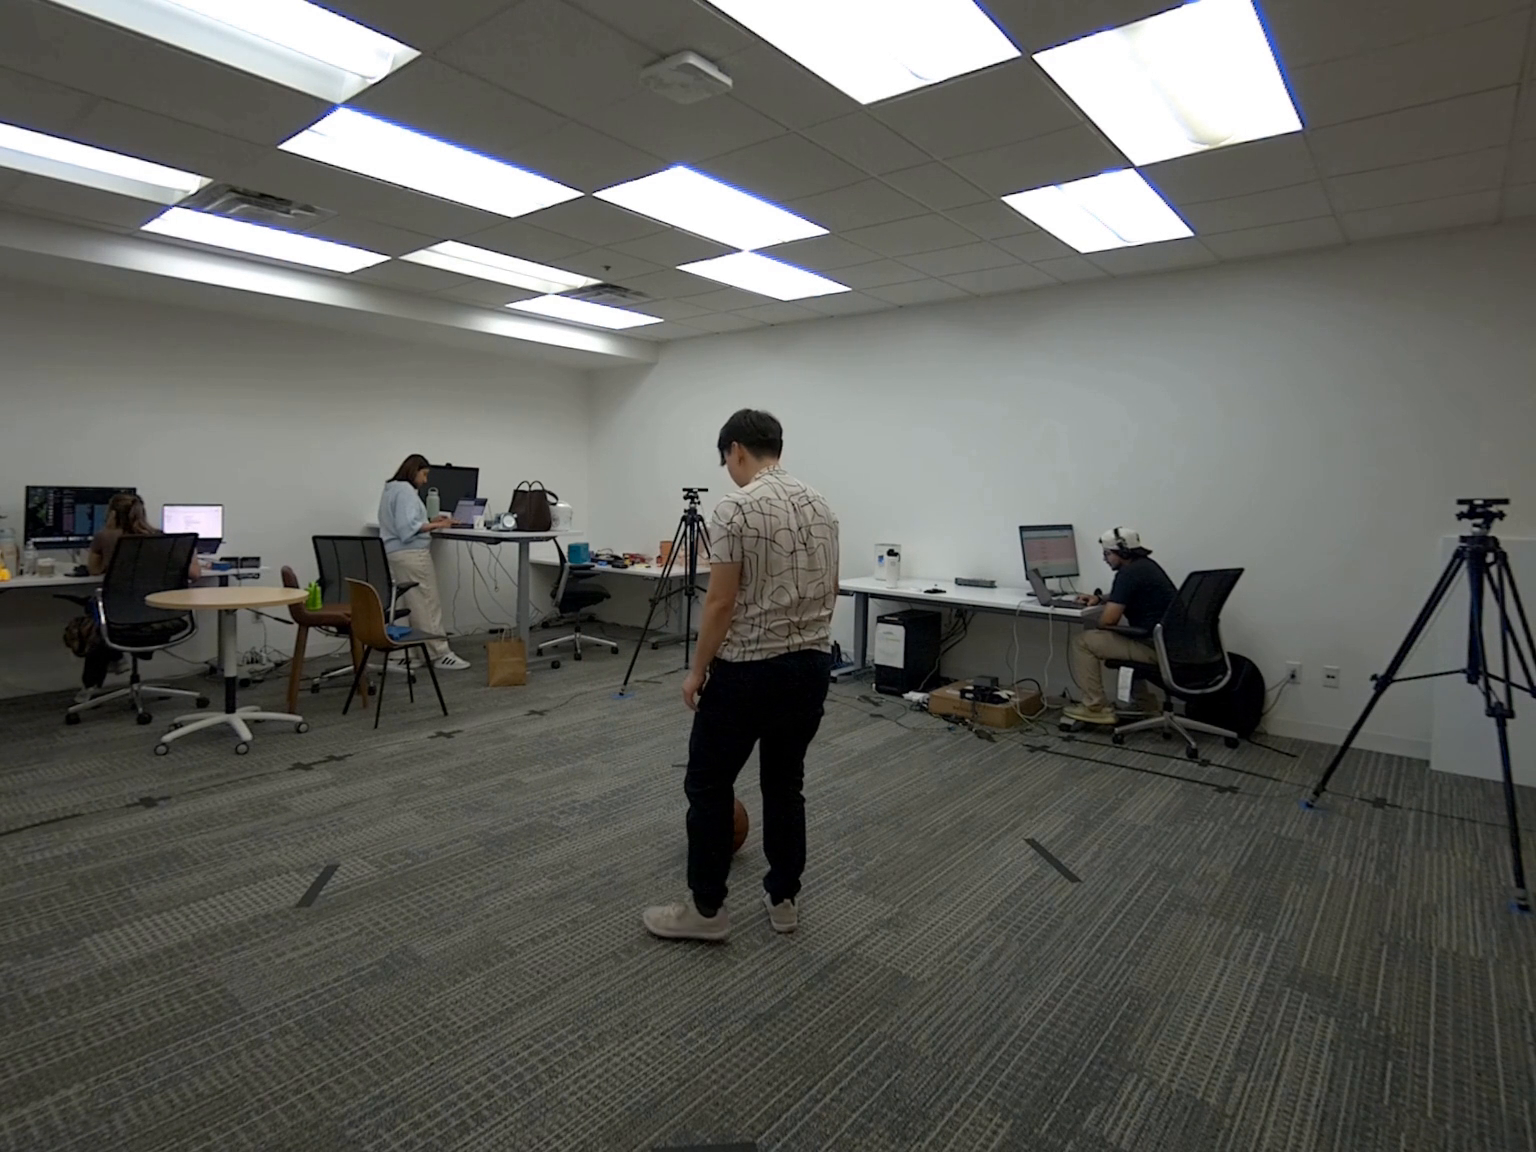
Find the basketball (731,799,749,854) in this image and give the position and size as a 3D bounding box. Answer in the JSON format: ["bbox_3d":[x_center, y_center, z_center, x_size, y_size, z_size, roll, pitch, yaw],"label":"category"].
[{"bbox_3d":[-0.202,0.933,3.227,0.235,0.235,0.237,1,4,-2],"label":"basketball"}]
